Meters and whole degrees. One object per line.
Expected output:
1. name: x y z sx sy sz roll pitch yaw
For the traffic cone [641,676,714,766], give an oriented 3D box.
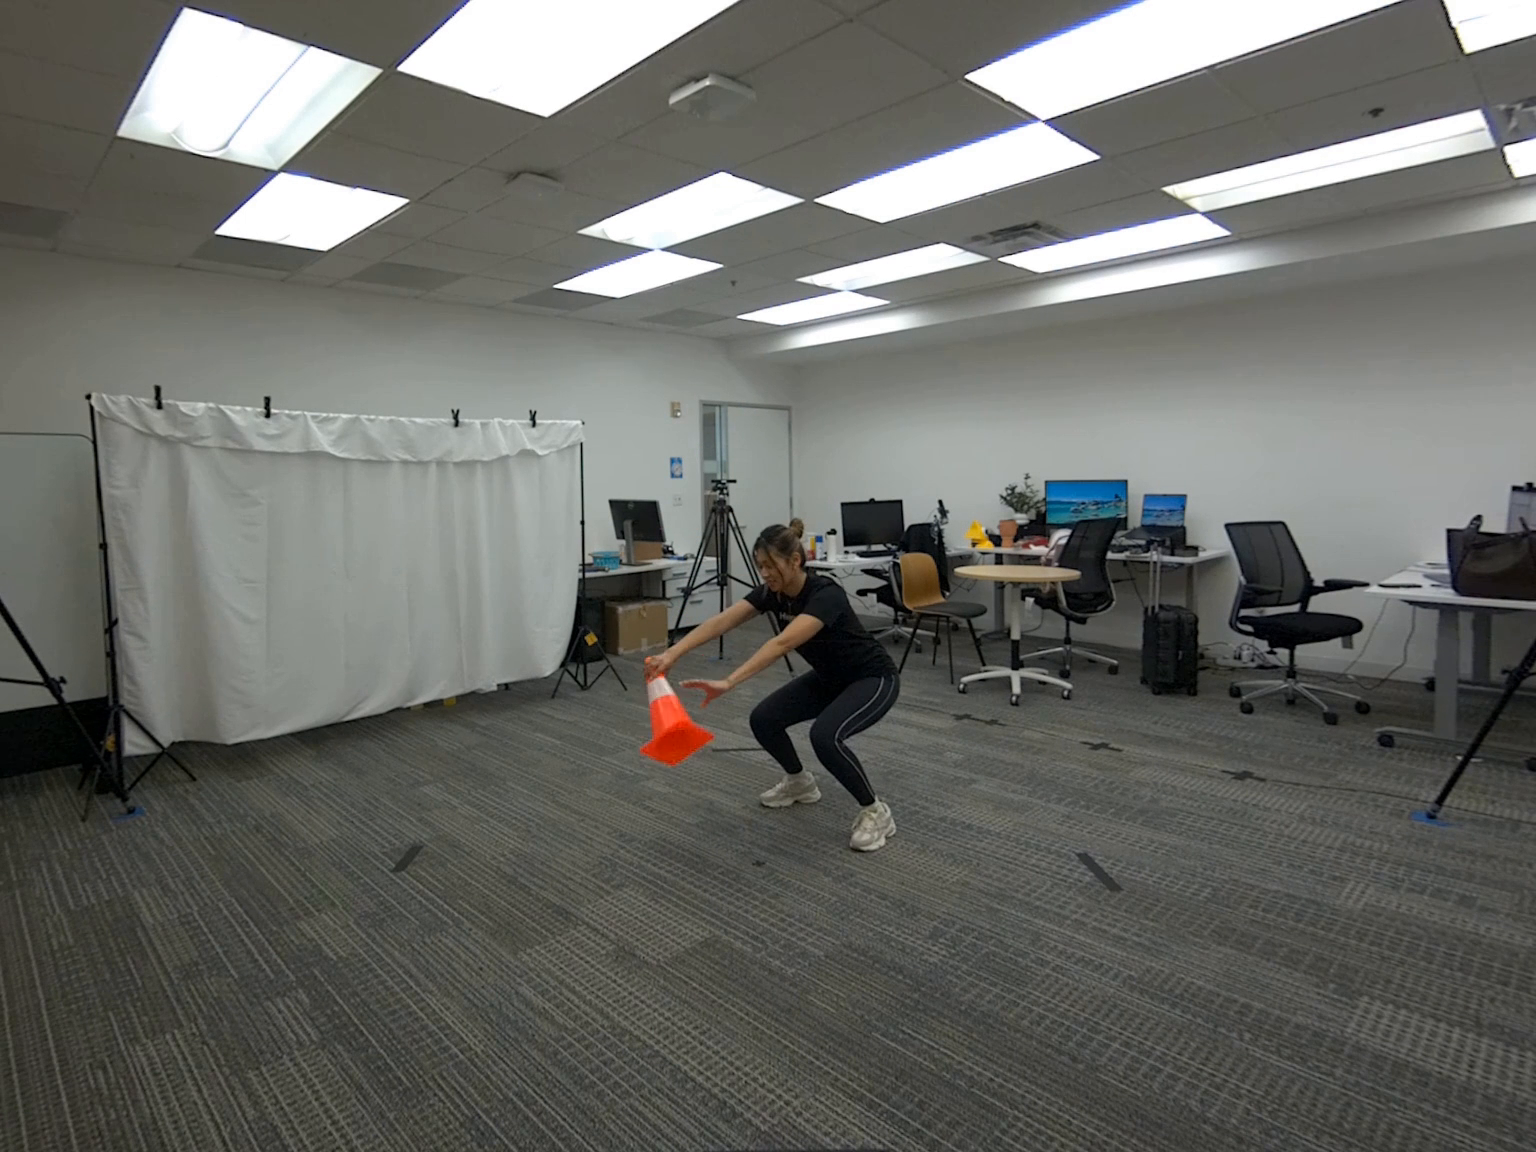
1. traffic cone: -0.374 0.444 3.035 0.204 0.398 0.197 -38 -45 12
